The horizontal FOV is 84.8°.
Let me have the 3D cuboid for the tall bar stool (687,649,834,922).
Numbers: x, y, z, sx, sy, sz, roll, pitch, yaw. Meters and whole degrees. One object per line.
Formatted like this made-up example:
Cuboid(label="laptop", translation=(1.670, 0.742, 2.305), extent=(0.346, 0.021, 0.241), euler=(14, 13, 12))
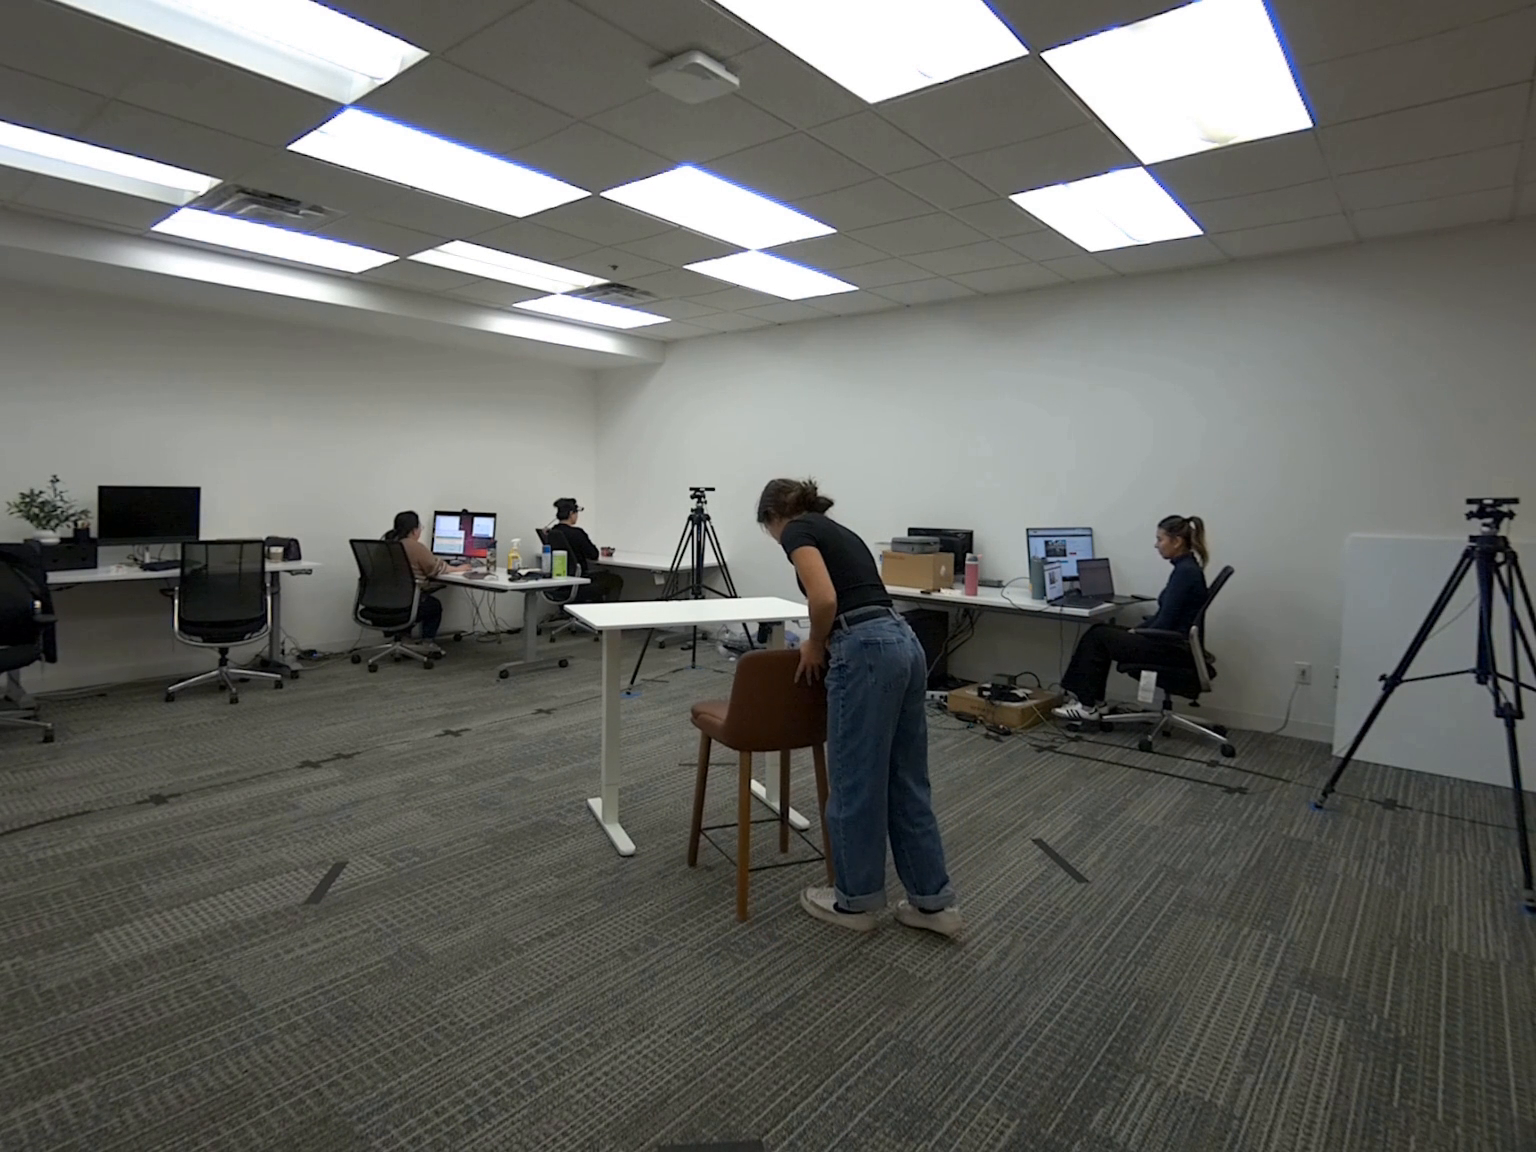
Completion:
Cuboid(label="tall bar stool", translation=(-0.022, 0.643, 2.977), extent=(0.446, 0.885, 0.480), euler=(0, 6, -23))
